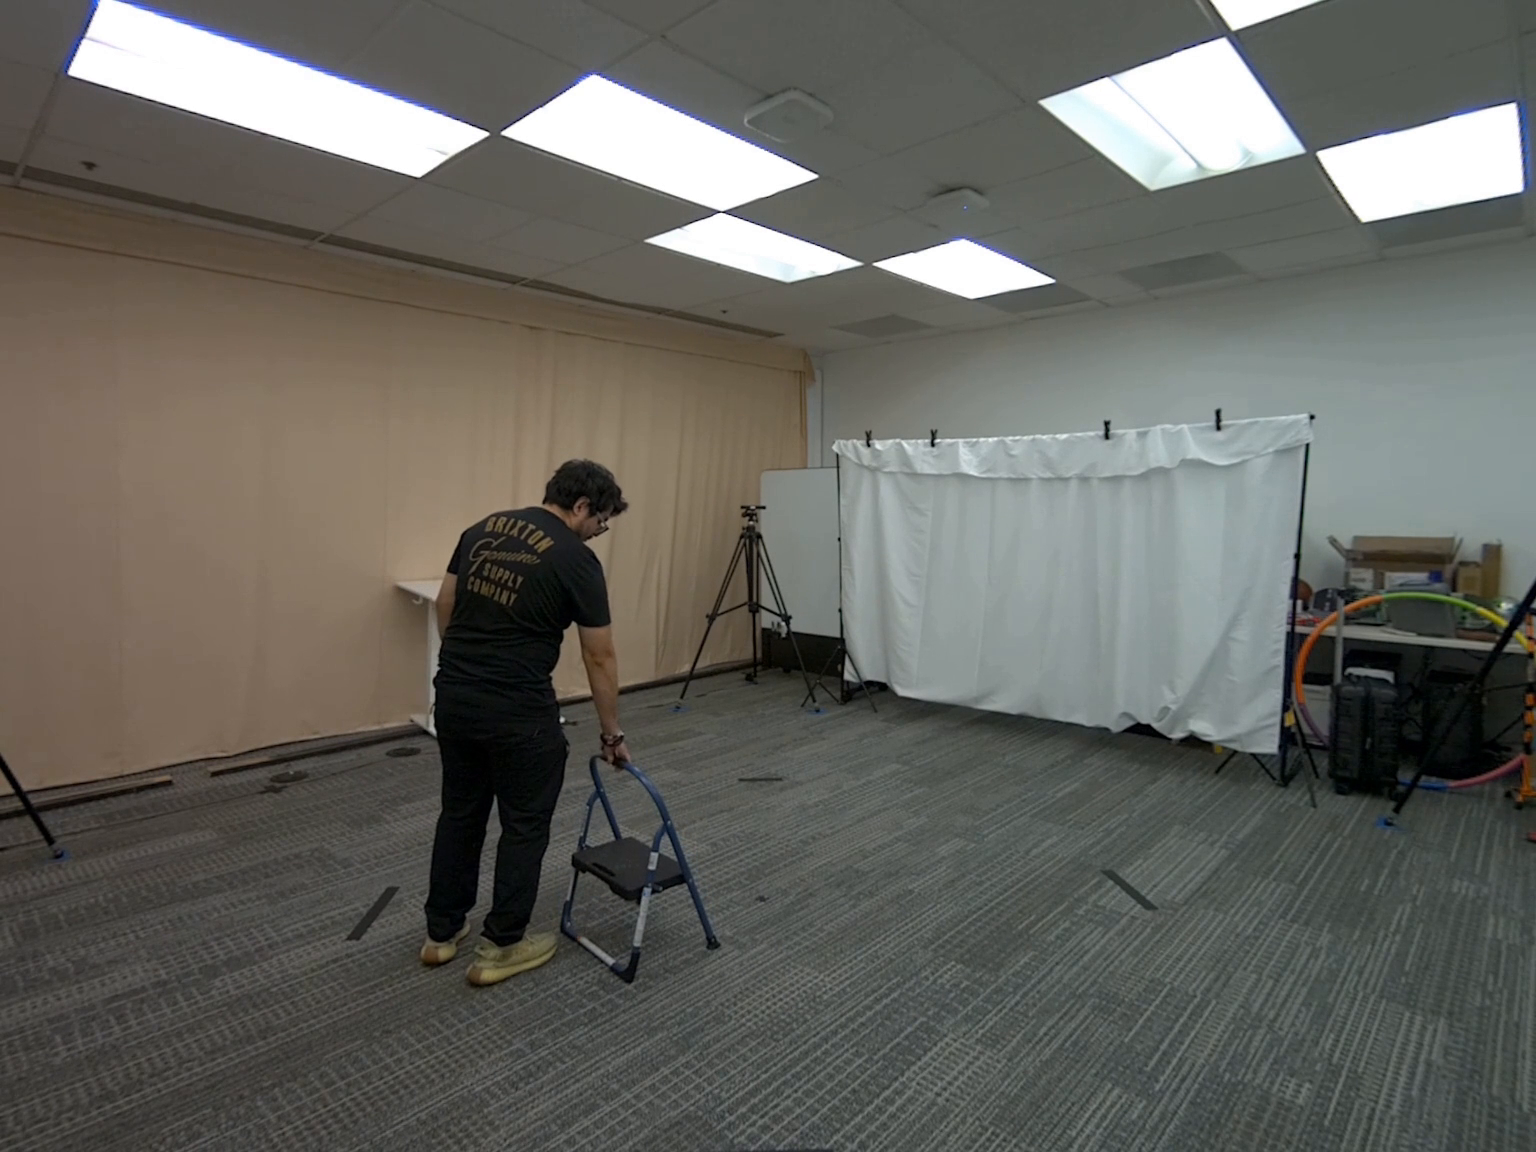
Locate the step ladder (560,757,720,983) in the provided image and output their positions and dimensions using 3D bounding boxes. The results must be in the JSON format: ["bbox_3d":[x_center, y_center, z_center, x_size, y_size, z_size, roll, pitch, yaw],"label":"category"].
[{"bbox_3d":[-0.422,0.871,2.702,0.338,0.605,0.445,-3,4,-43],"label":"step ladder"}]
